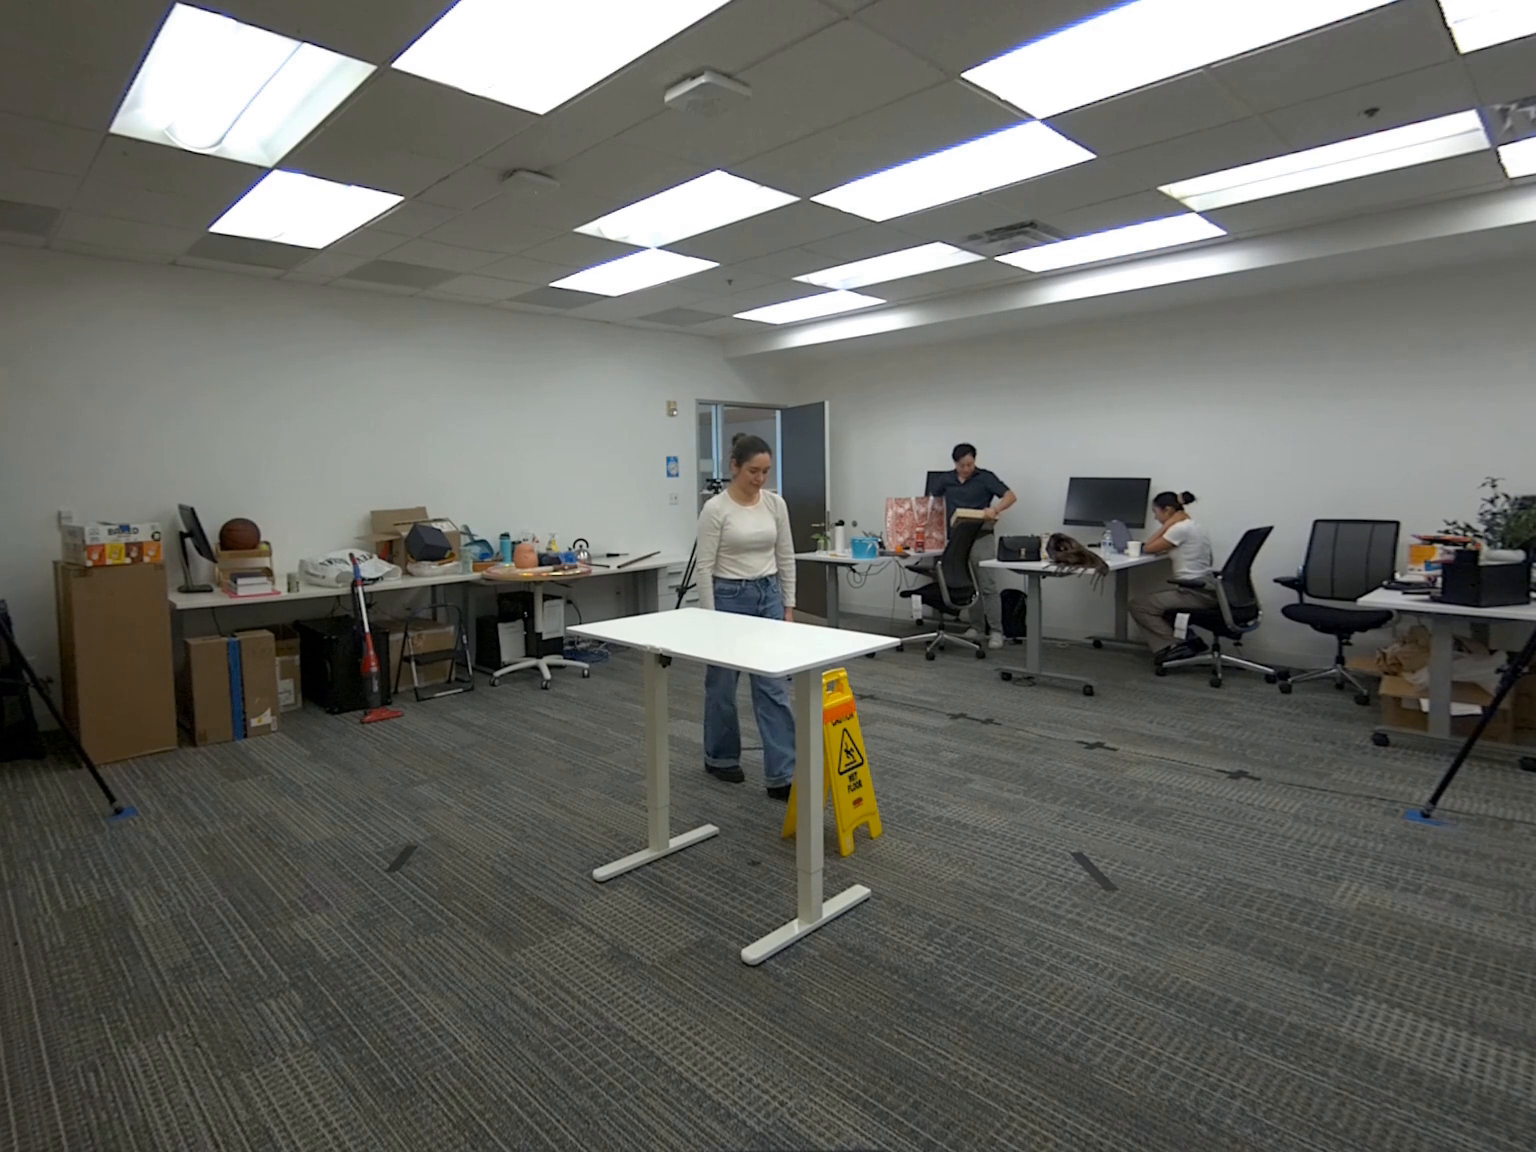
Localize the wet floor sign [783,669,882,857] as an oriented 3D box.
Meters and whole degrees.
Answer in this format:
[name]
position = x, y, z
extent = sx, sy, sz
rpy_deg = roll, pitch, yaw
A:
[wet floor sign]
position = 0.246, 0.693, 3.322
extent = 0.298, 0.644, 0.275
rpy_deg = 2, 5, 39
